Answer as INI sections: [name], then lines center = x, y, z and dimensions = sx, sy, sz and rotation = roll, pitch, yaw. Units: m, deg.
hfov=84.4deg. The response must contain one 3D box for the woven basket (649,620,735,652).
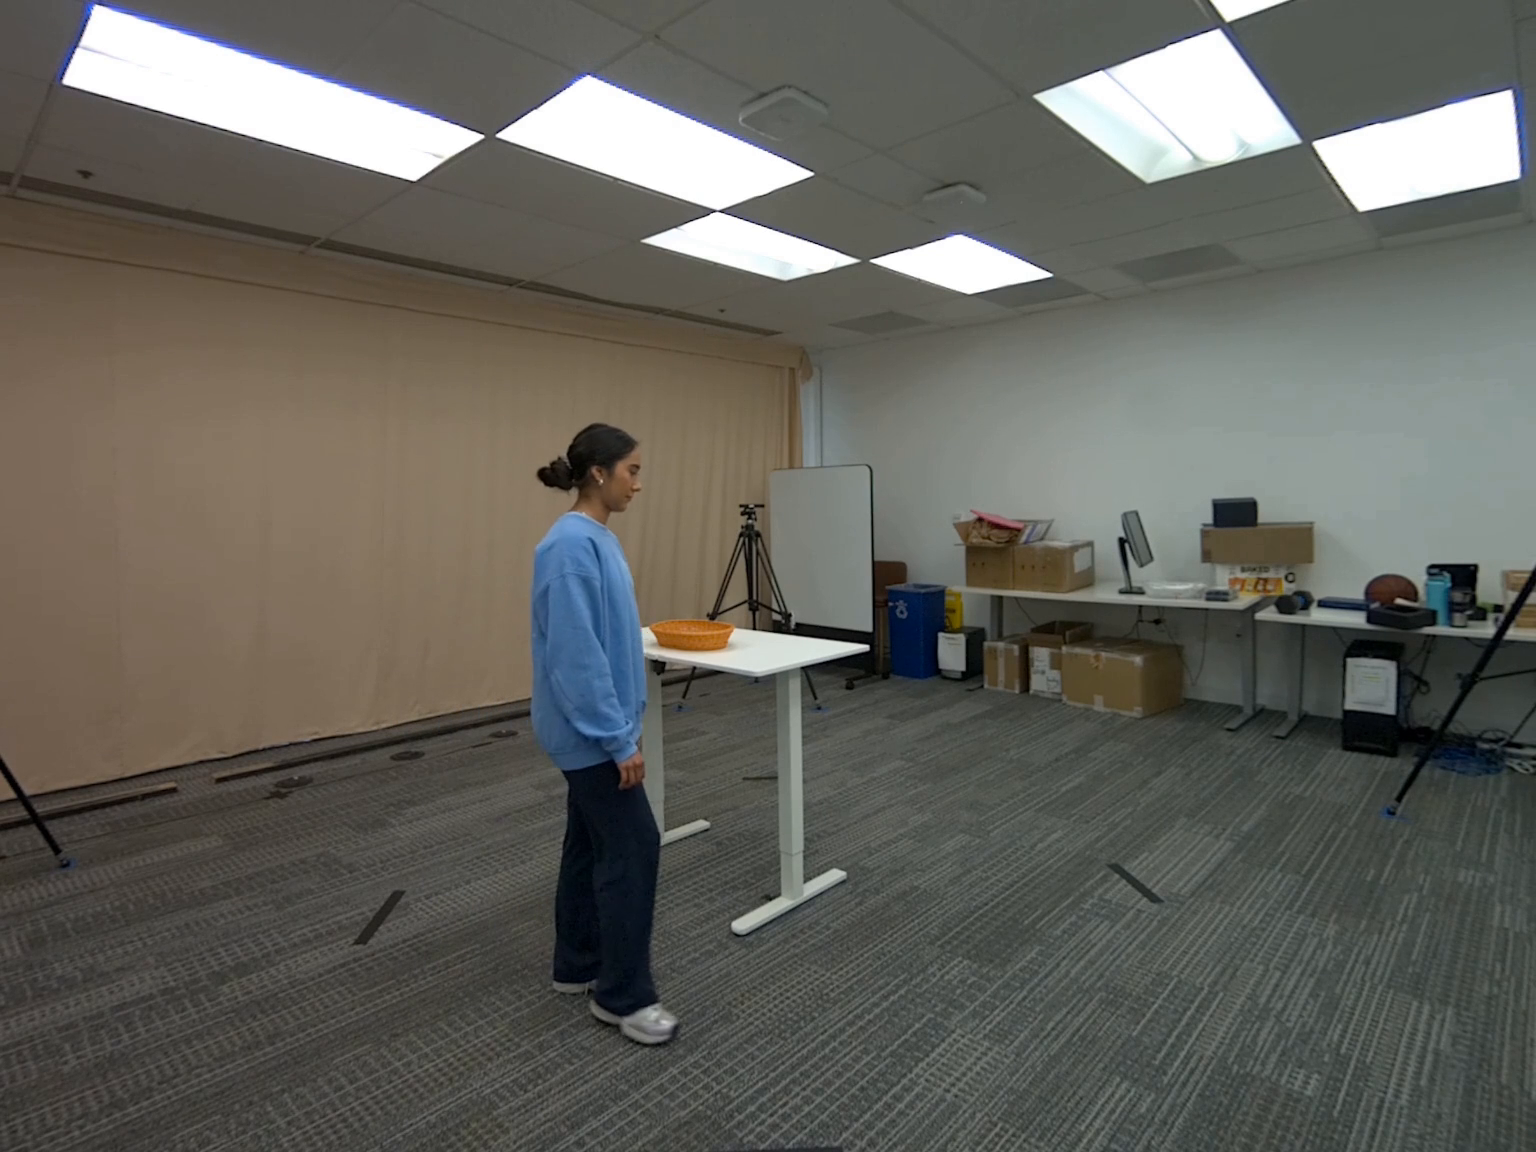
[woven basket]
center = -0.284, 0.225, 3.086
dimensions = 0.245, 0.073, 0.362
rotation = -7, 7, -43
